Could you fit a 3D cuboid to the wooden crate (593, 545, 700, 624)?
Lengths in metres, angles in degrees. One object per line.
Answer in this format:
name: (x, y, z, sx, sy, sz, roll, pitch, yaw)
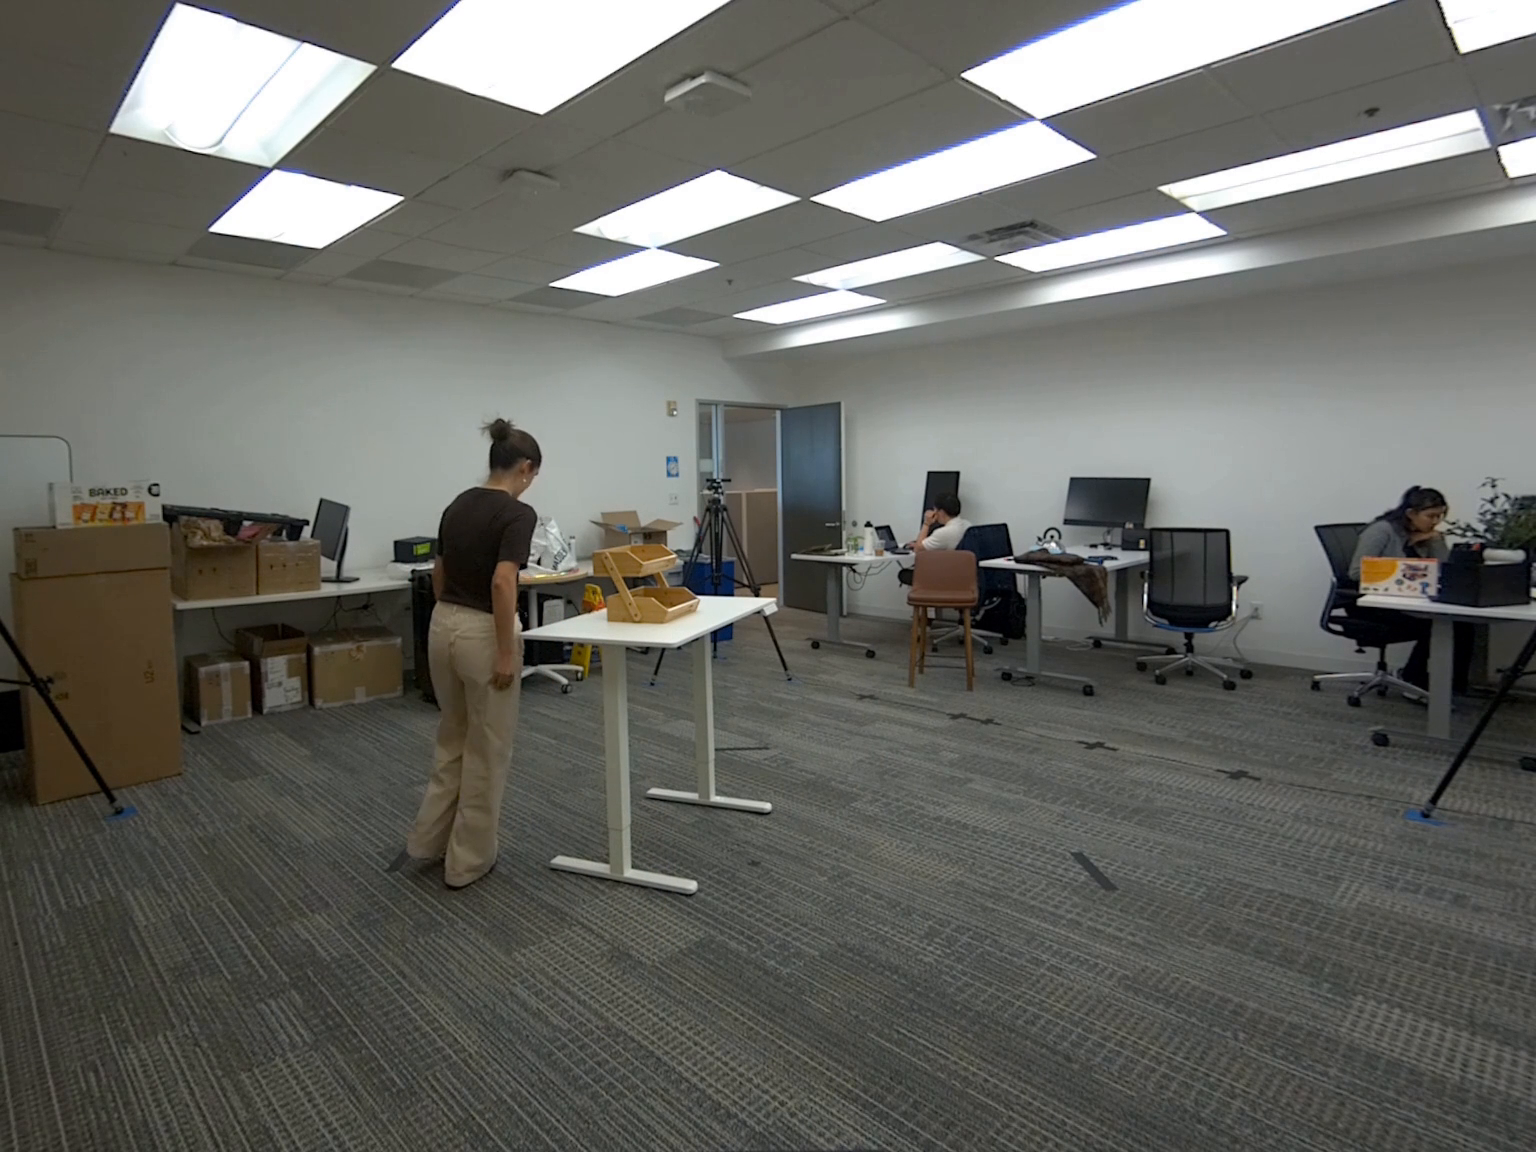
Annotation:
wooden crate: (-0.449, 0.022, 3.252, 0.307, 0.272, 0.320, -1, 5, 18)
